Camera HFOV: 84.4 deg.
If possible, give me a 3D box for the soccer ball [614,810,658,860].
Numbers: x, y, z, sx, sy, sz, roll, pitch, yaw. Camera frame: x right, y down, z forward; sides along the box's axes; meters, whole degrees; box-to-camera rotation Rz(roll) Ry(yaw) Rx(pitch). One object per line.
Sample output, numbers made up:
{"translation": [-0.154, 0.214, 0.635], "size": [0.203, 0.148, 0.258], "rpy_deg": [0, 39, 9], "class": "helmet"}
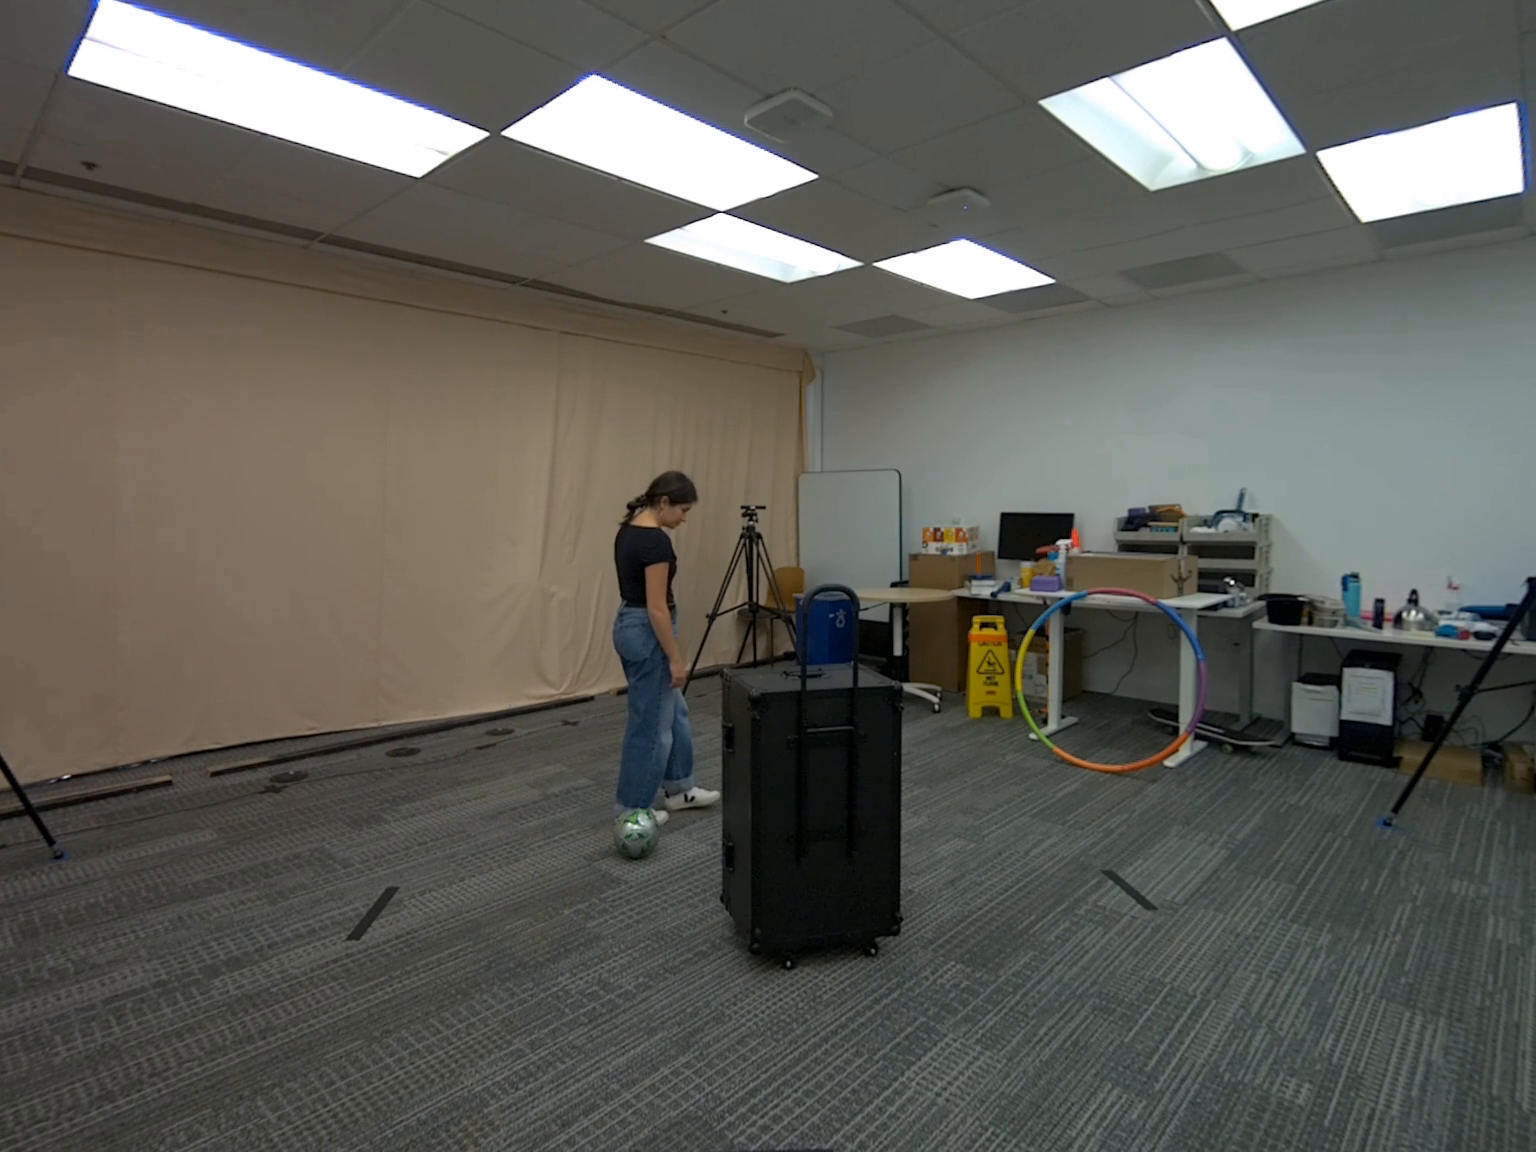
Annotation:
{"translation": [-0.526, 1.019, 3.356], "size": [0.187, 0.187, 0.188], "rpy_deg": [0, 4, -2], "class": "soccer ball"}
